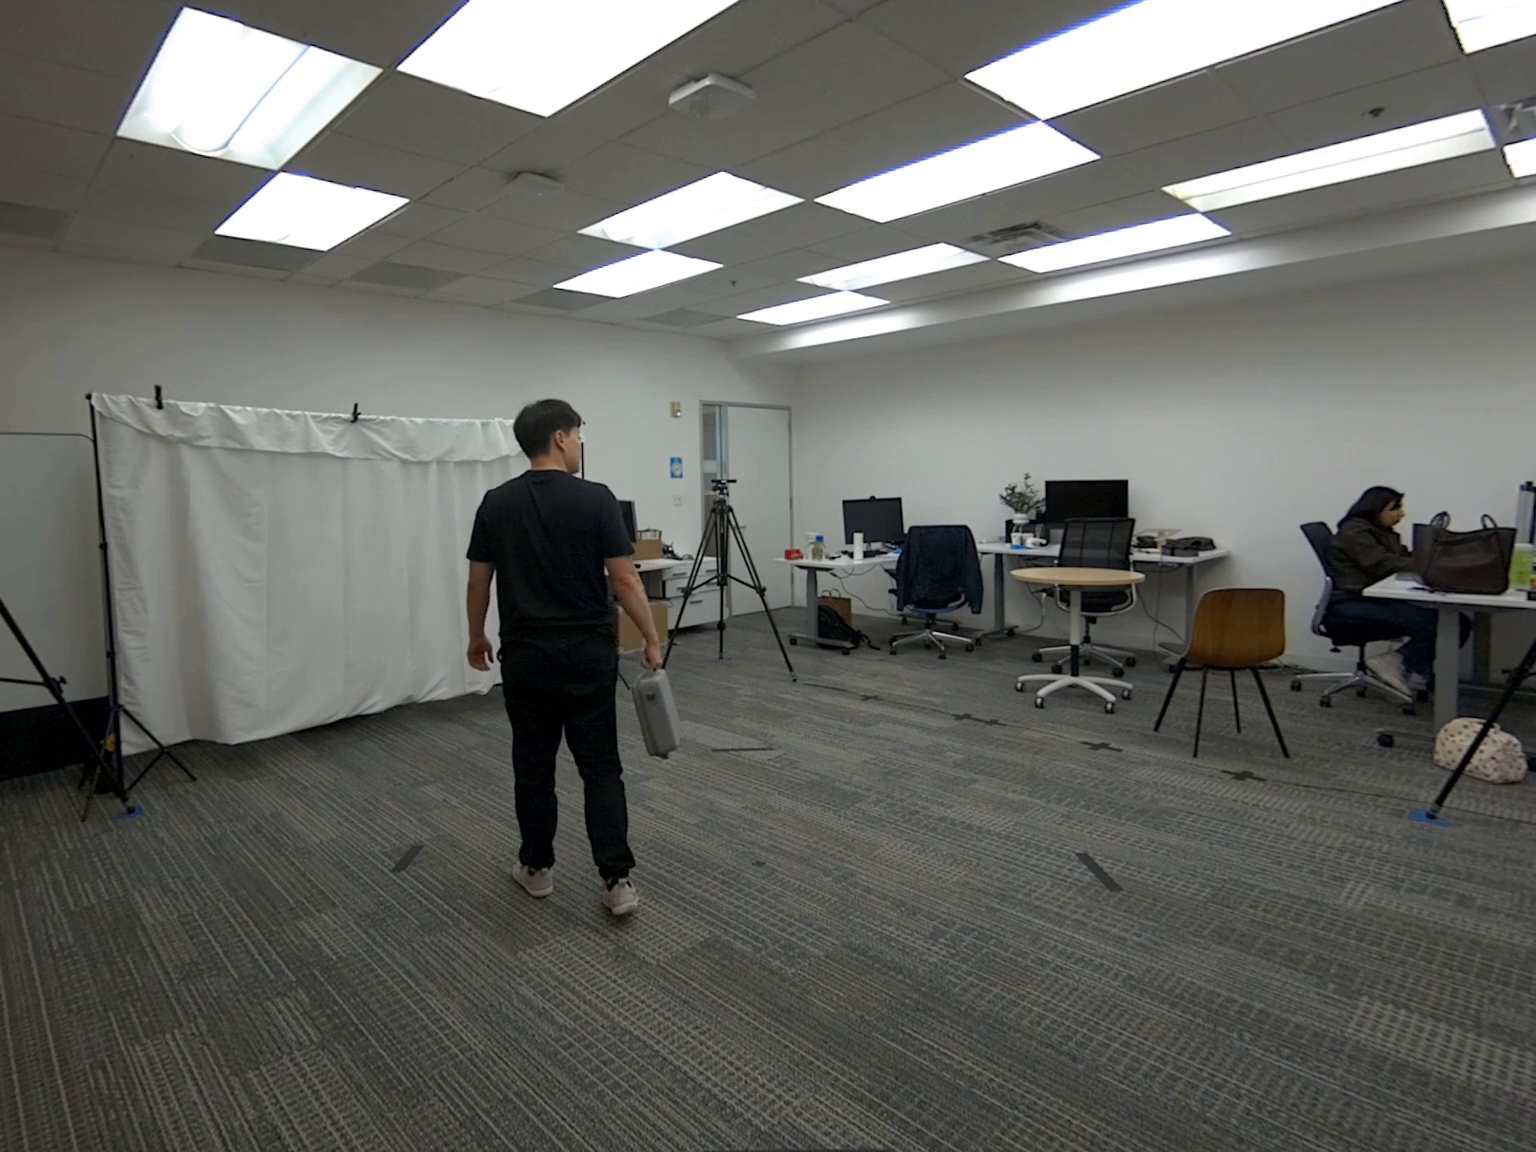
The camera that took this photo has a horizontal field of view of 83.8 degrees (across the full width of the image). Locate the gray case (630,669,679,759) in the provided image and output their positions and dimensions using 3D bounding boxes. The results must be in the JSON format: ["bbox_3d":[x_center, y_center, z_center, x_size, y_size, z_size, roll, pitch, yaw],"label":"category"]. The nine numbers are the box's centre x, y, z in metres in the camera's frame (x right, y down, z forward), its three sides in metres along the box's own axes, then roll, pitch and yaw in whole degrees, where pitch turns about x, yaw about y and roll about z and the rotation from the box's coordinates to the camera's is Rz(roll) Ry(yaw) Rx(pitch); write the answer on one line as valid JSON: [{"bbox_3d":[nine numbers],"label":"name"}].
[{"bbox_3d":[-0.383,0.452,2.902,0.104,0.260,0.257,-10,2,0],"label":"gray case"}]
